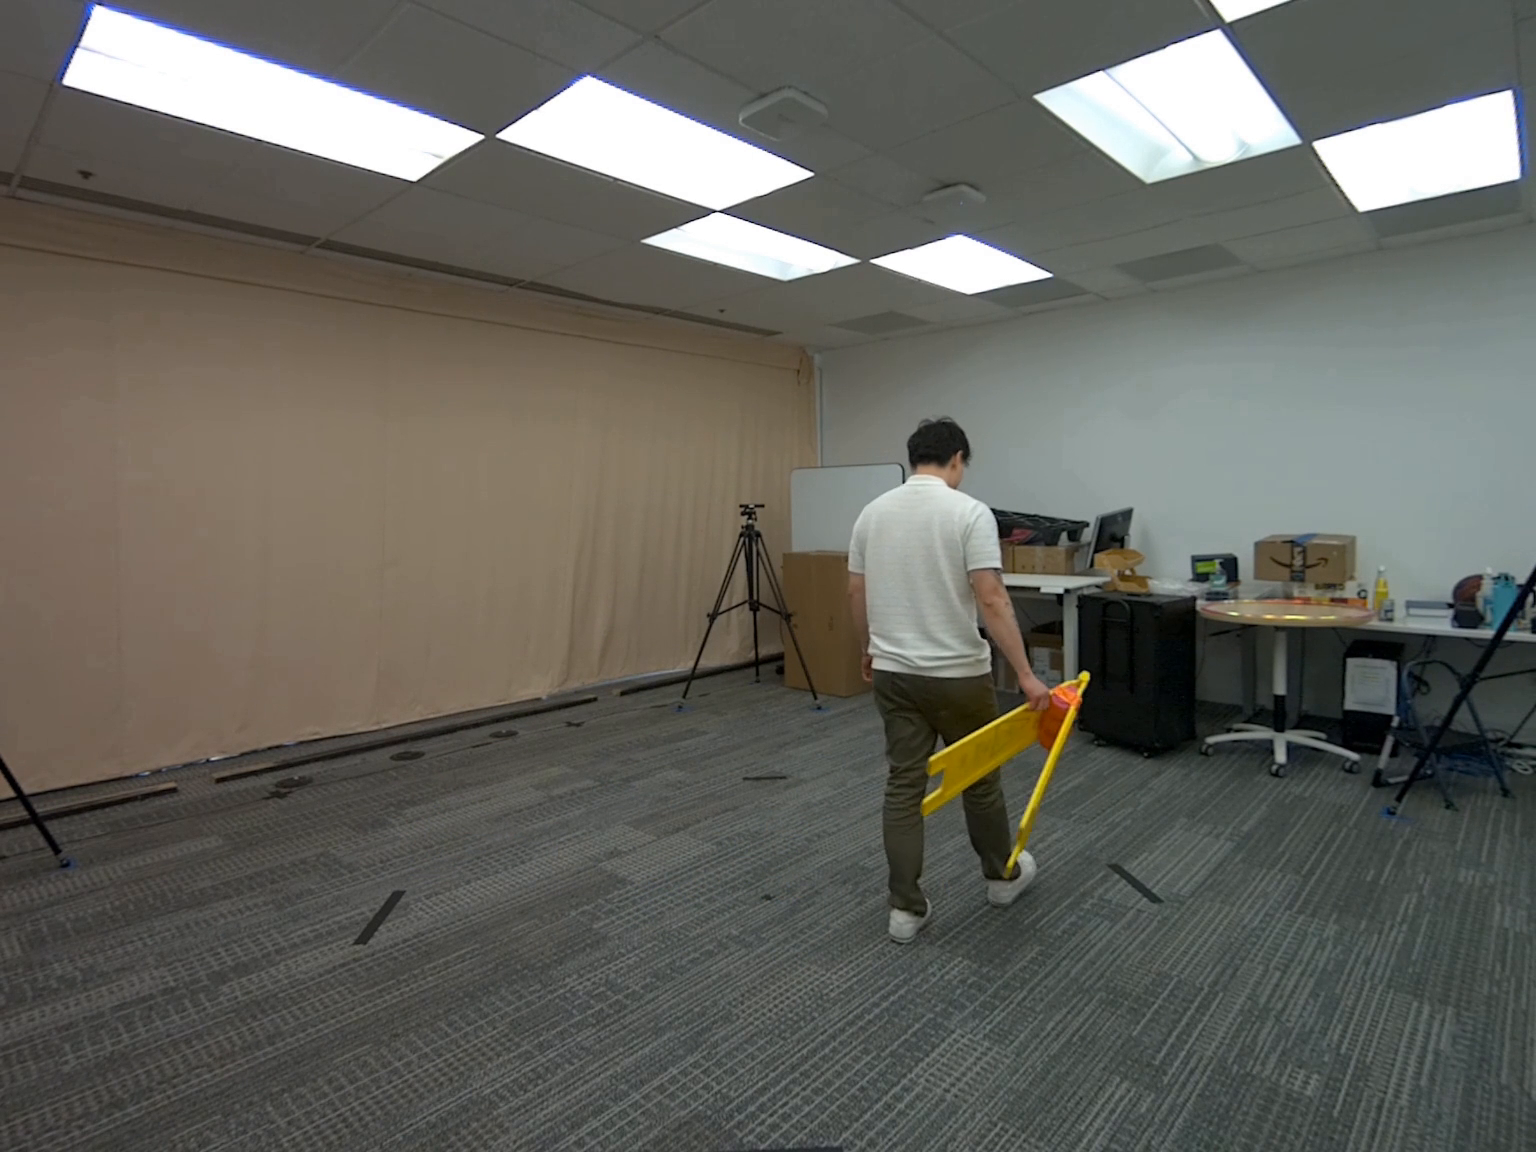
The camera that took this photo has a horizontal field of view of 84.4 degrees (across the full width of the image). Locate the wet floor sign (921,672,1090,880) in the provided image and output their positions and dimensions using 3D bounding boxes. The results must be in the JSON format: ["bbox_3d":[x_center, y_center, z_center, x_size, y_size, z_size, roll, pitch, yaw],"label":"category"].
[{"bbox_3d":[0.790,0.534,2.545,0.300,0.276,0.637,32,53,32],"label":"wet floor sign"}]
